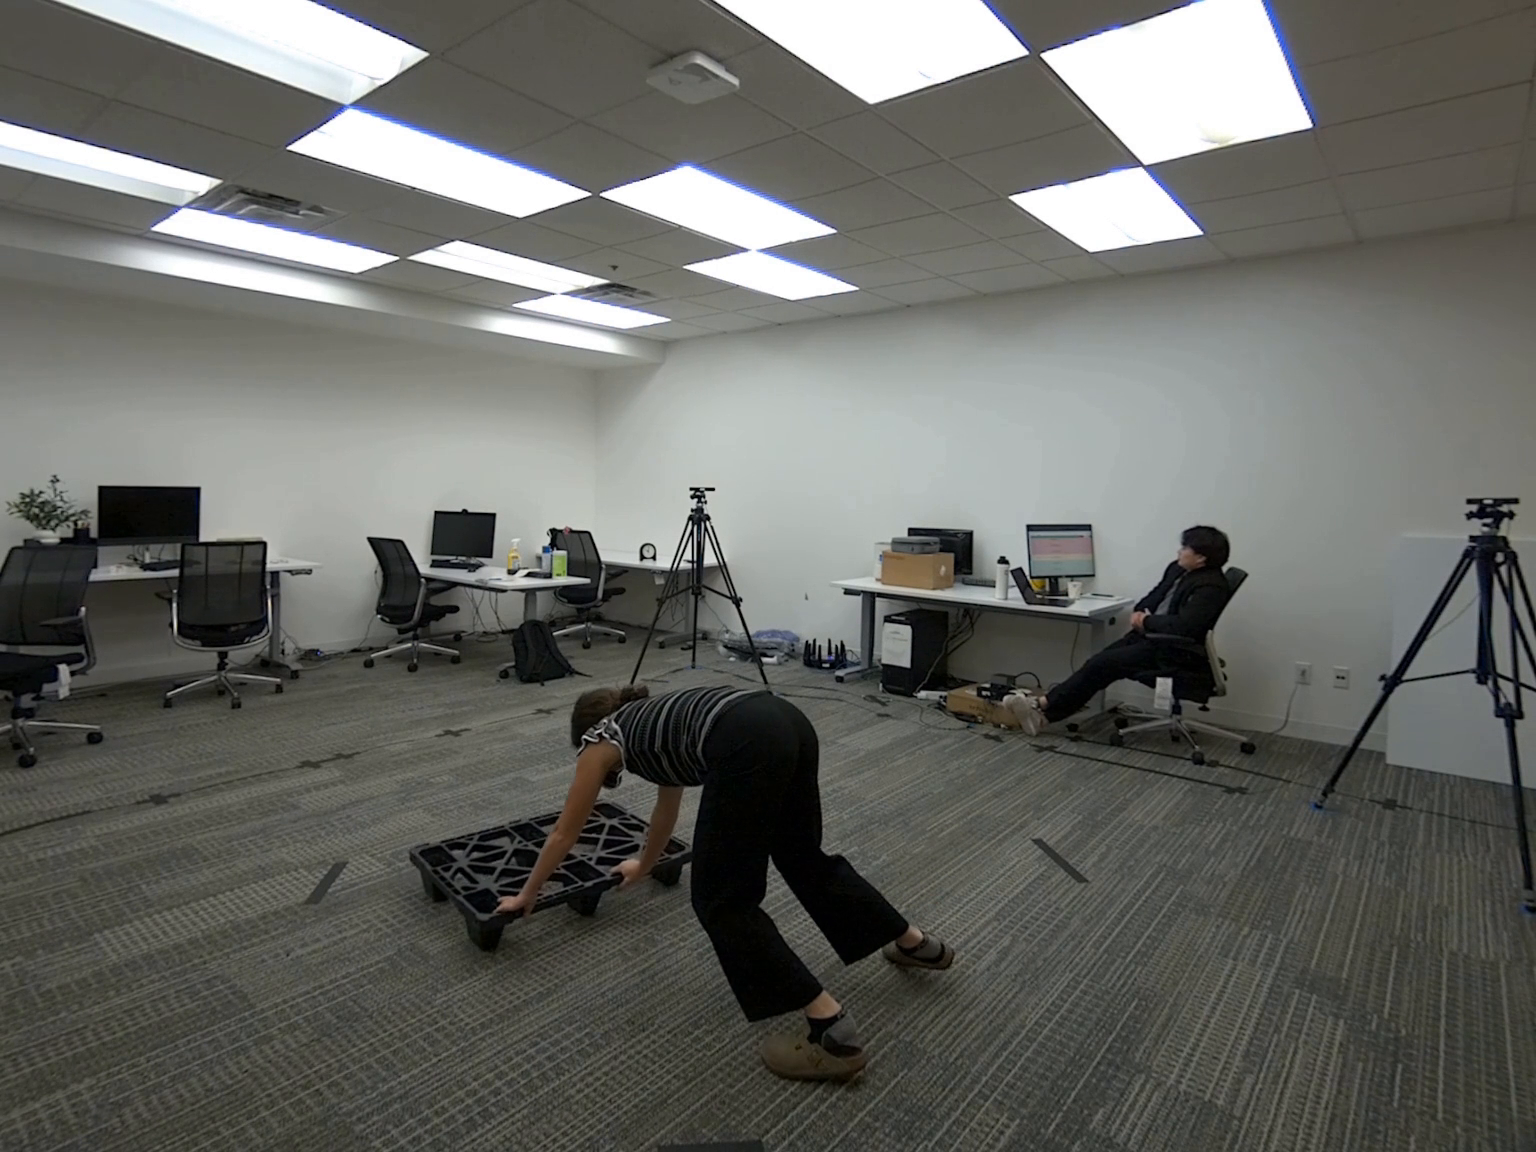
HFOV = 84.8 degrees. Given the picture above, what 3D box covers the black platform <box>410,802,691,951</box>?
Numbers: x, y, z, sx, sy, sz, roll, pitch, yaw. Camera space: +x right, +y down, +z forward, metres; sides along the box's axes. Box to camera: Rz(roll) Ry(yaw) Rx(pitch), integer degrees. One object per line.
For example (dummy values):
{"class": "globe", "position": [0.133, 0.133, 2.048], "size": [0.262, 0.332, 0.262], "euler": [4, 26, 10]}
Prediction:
{"class": "black platform", "position": [-0.749, 1.006, 2.934], "size": [0.781, 0.143, 0.626], "euler": [-4, 7, -41]}
